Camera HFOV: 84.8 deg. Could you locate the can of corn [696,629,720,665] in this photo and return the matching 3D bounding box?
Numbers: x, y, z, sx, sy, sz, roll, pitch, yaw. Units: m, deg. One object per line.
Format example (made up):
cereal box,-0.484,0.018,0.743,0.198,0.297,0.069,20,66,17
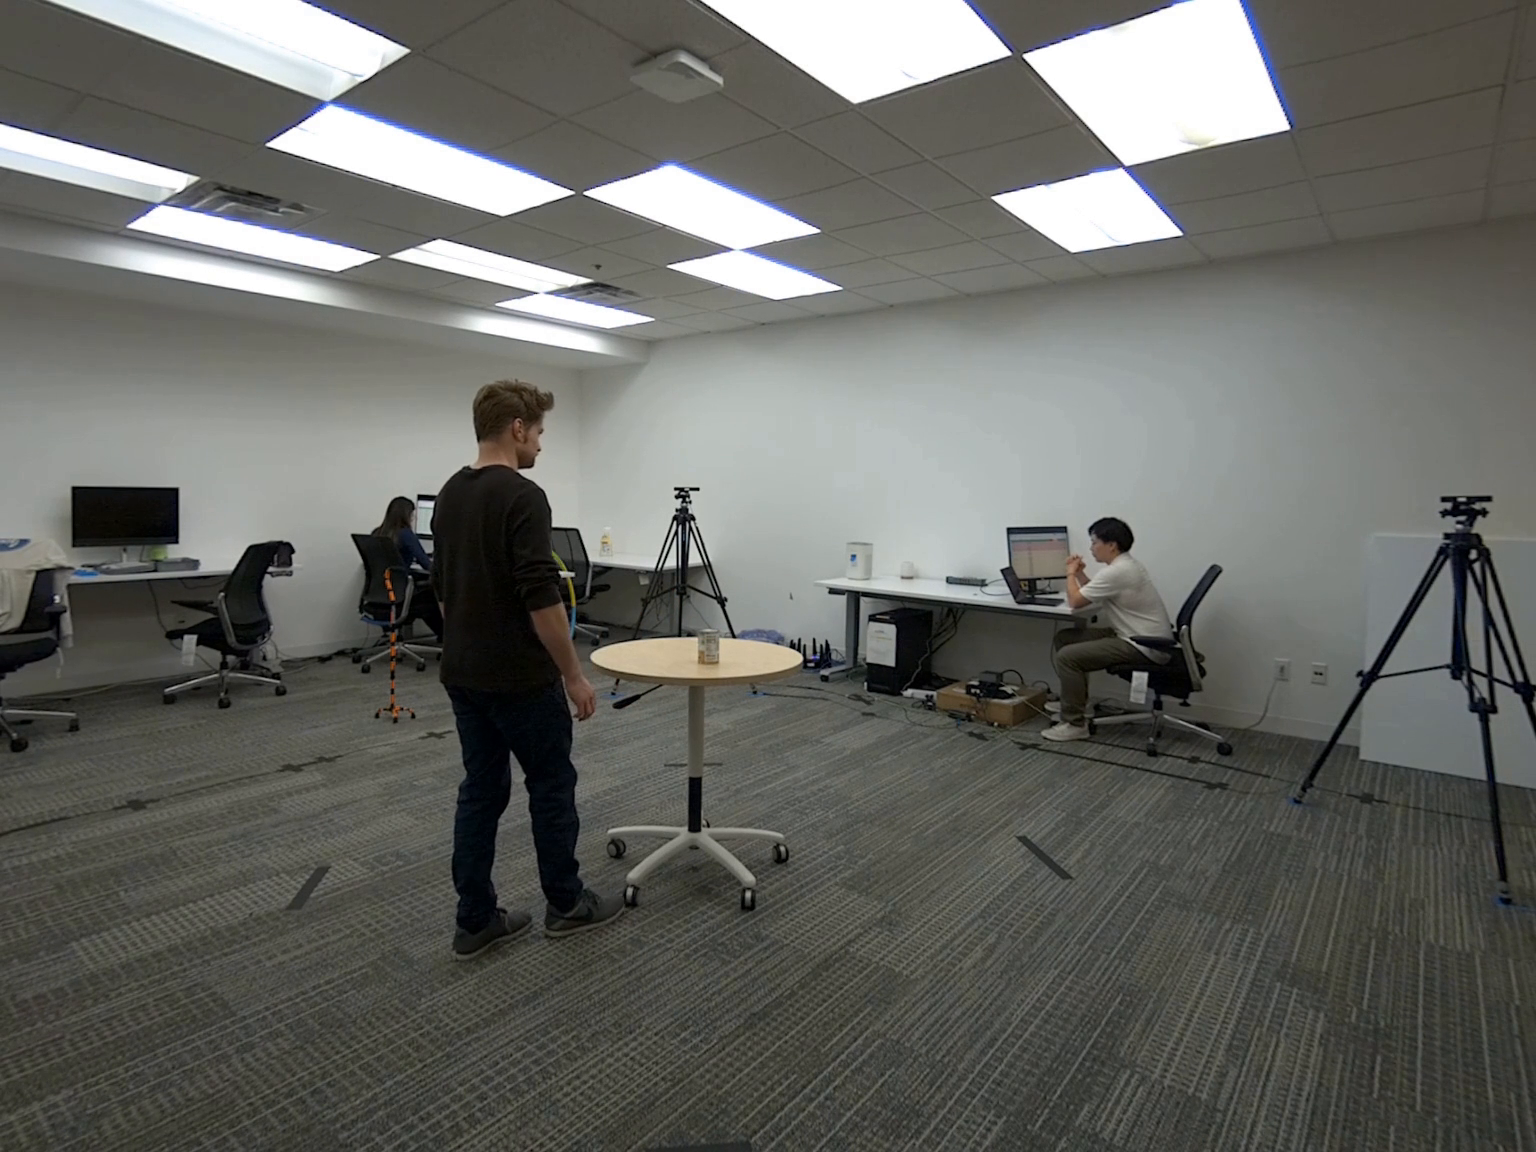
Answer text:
can of corn,-0.214,0.243,2.941,0.074,0.111,0.074,0,3,-2
